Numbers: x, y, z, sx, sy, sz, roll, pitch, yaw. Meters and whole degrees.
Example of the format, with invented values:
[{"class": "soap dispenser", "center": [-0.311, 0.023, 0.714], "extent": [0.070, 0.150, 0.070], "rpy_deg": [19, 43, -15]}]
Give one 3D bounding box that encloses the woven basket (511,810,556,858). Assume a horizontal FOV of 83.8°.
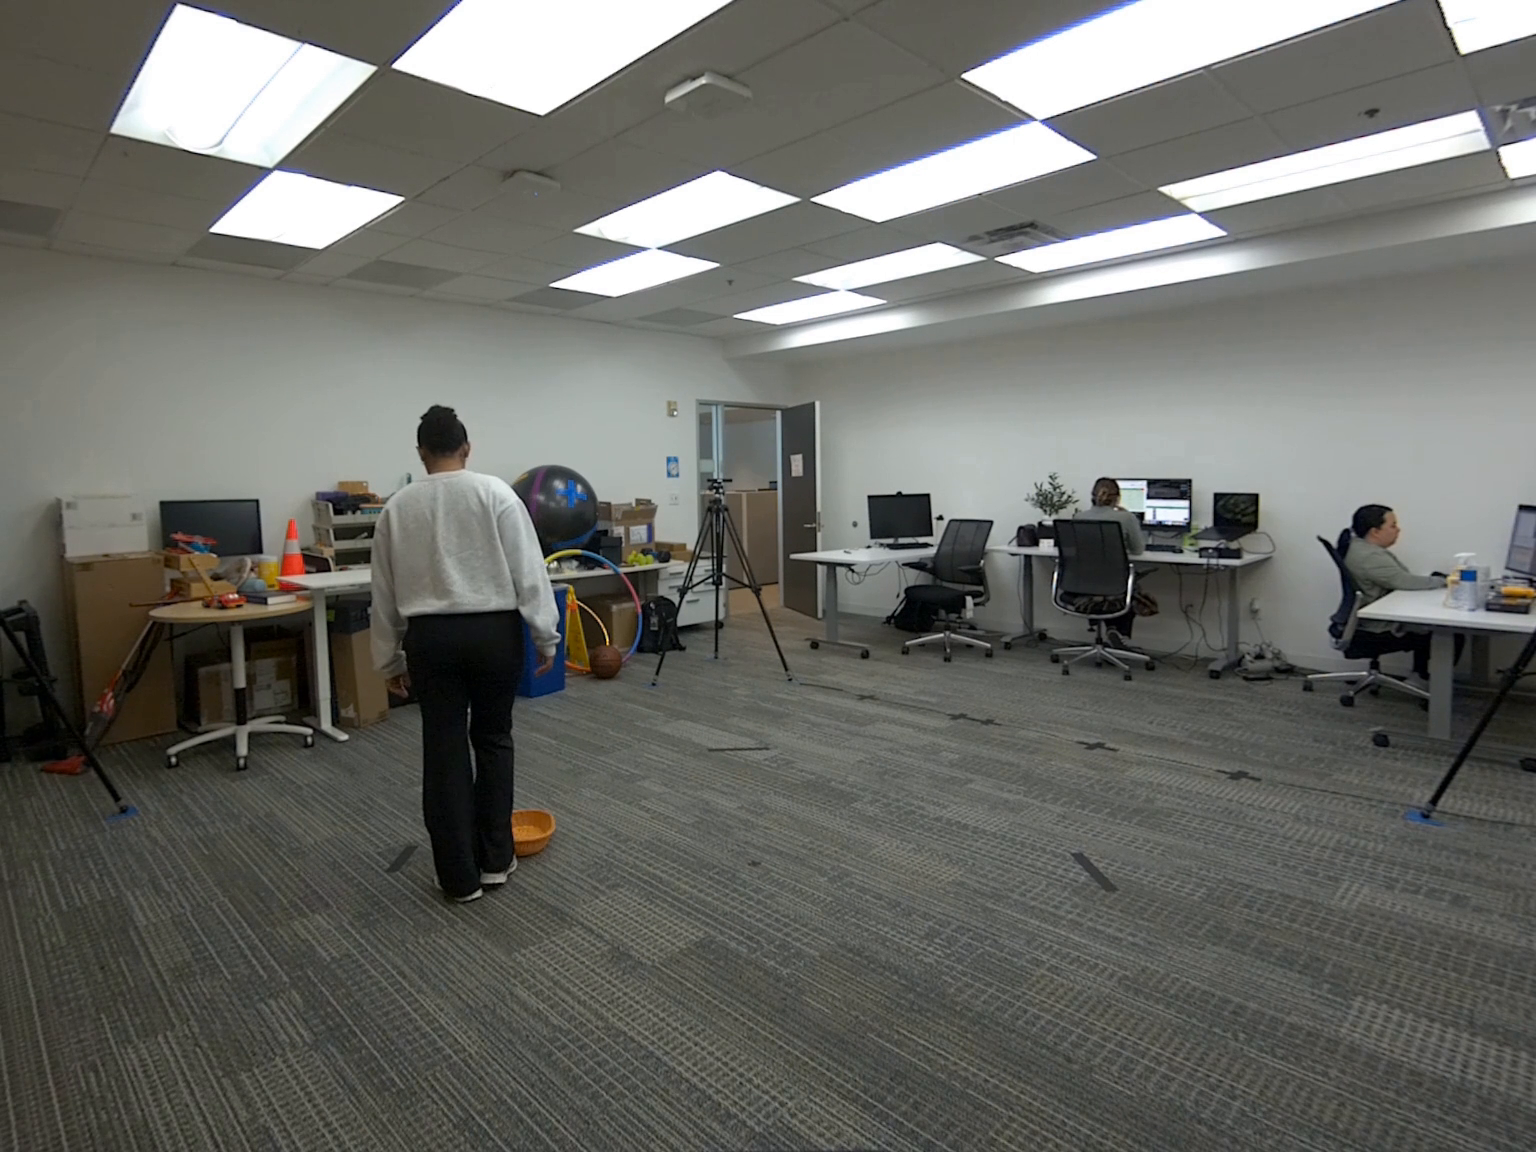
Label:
[{"class": "woven basket", "center": [-0.946, 0.995, 3.326], "extent": [0.250, 0.073, 0.355], "rpy_deg": [-1, 4, -12]}]
